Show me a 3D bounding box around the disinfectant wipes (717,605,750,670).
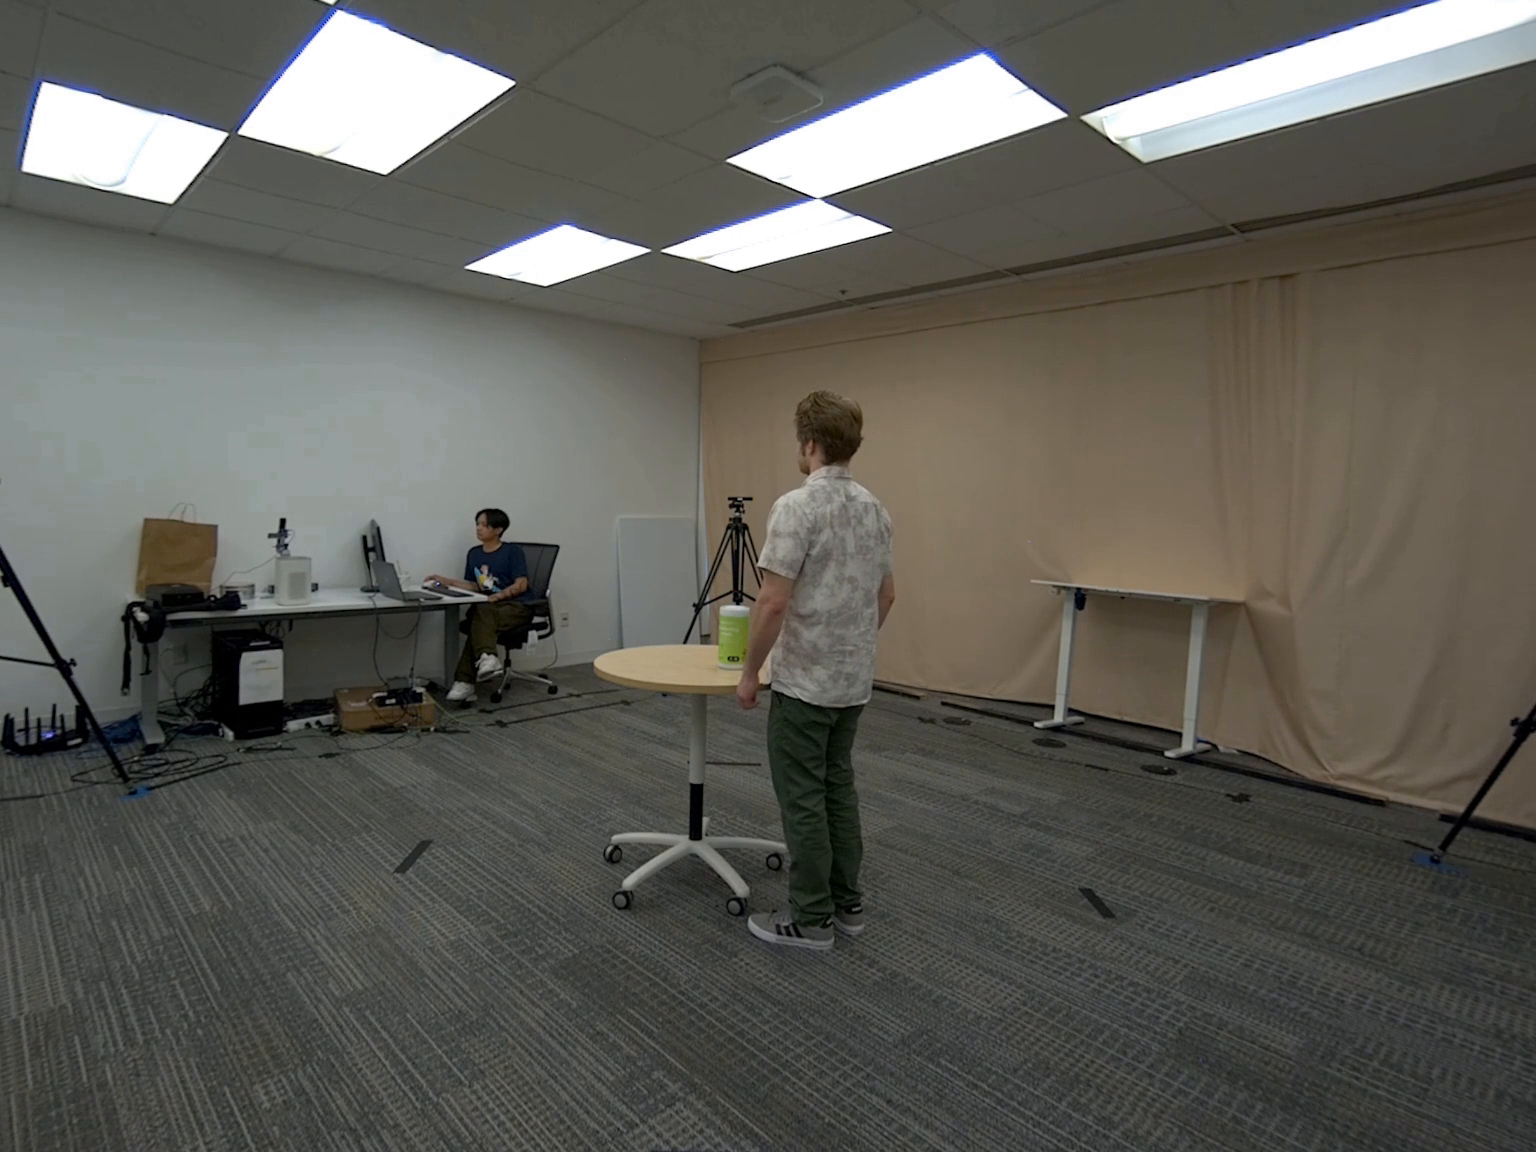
[{"bbox_3d":[-0.131,0.219,2.996,0.118,0.216,0.118,2,6,-2],"label":"disinfectant wipes"}]
